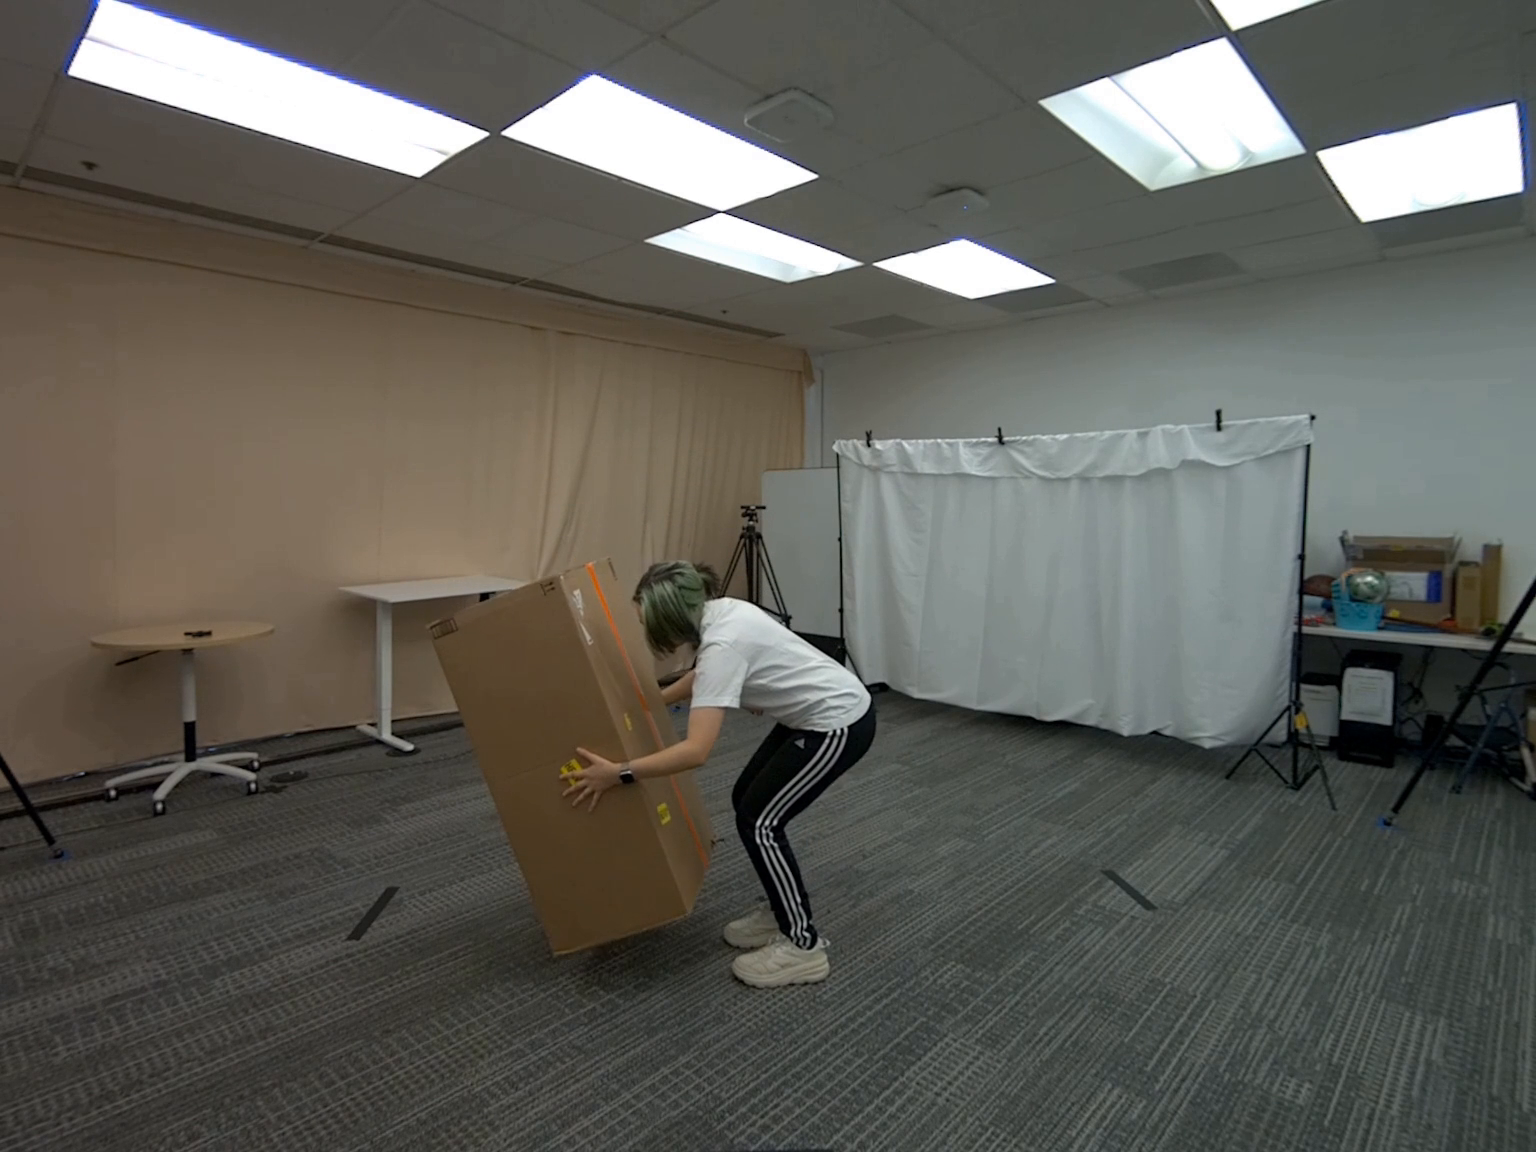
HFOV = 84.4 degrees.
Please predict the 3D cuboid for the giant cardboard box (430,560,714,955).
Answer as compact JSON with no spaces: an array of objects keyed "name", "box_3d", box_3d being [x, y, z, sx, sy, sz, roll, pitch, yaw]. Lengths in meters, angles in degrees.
[{"name":"giant cardboard box","box_3d":[-0.574,0.512,2.635,0.449,1.026,0.582,-21,1,5]}]
